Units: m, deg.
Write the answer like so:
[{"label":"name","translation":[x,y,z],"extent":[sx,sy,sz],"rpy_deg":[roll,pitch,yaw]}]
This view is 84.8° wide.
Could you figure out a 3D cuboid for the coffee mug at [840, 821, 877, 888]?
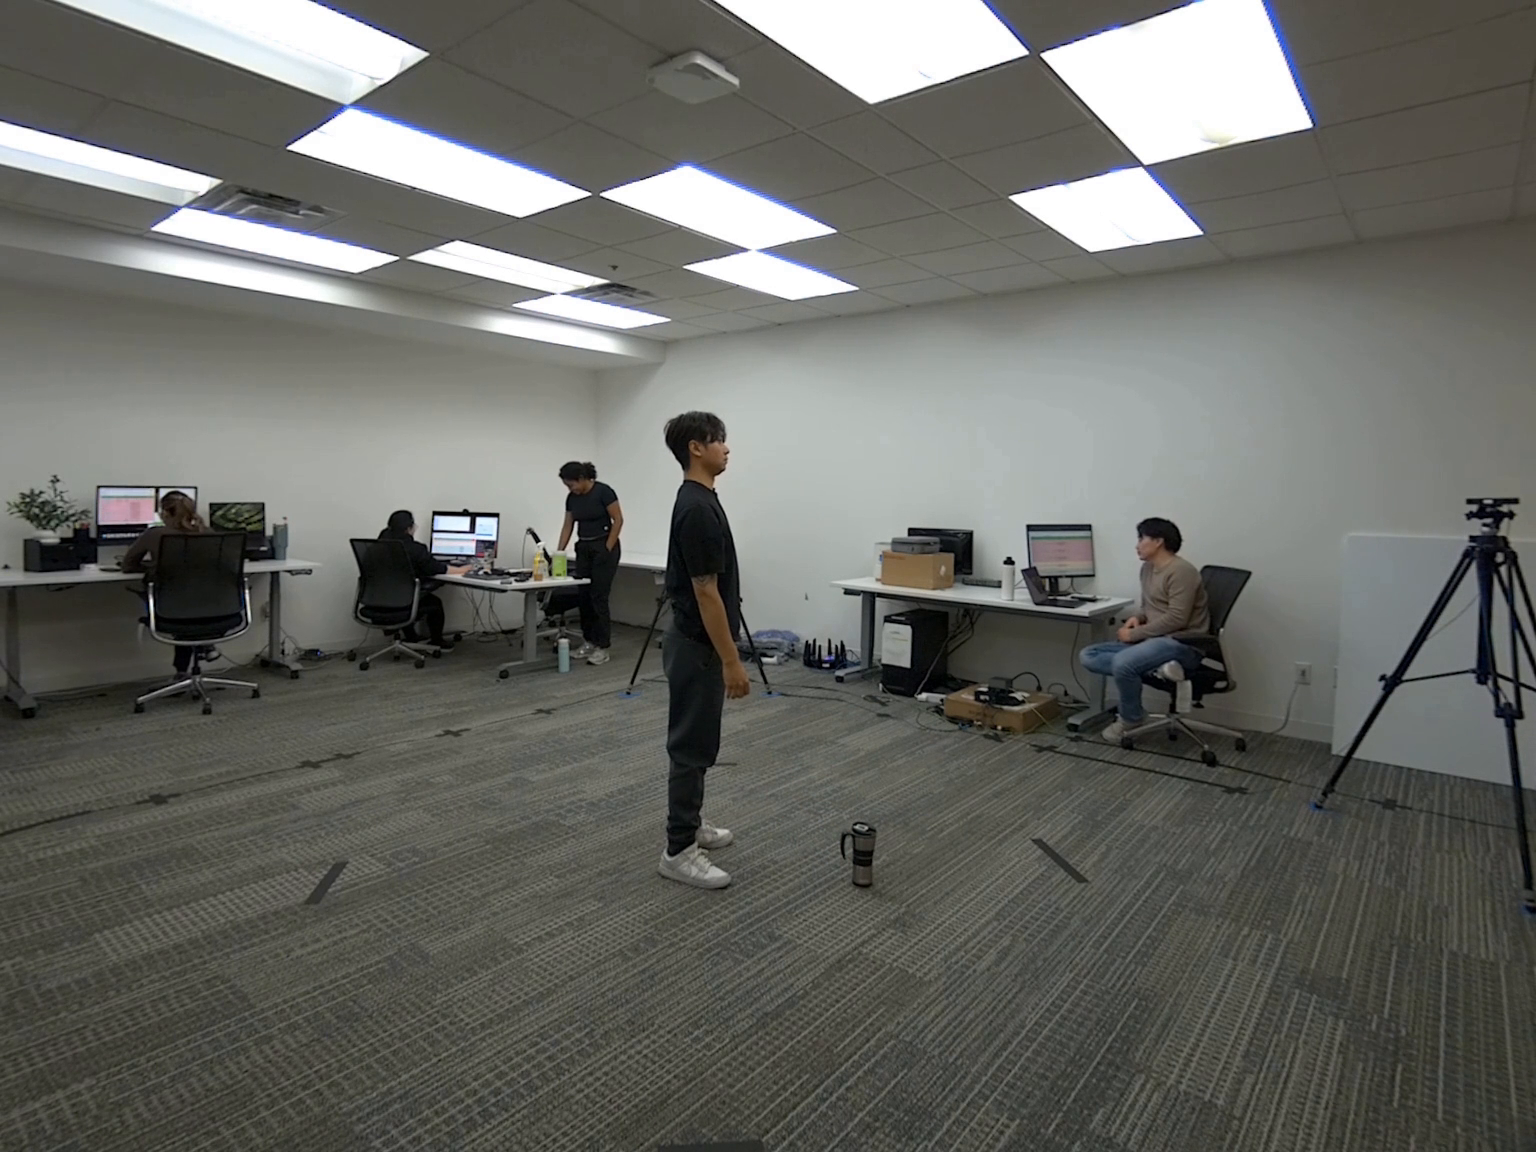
[{"label":"coffee mug","translation":[0.318,0.988,3.031],"extent":[0.126,0.202,0.085],"rpy_deg":[7,9,37]}]
